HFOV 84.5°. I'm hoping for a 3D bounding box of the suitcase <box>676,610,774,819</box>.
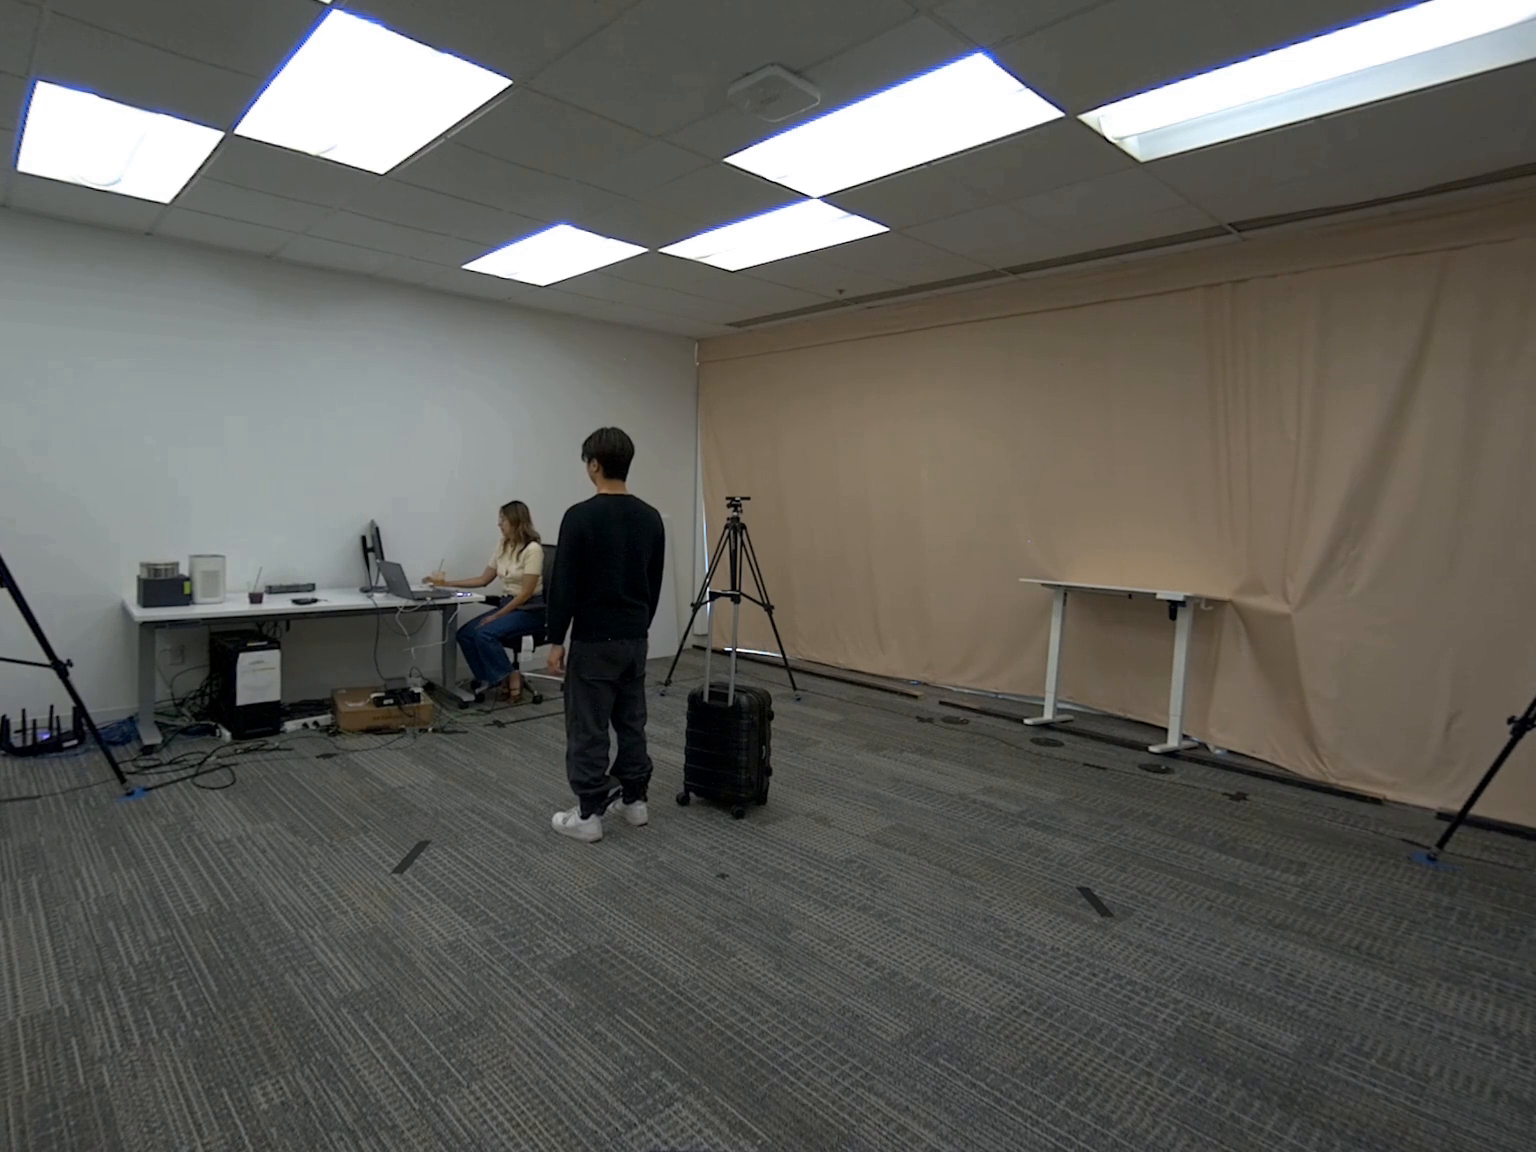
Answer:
[{"bbox_3d":[-0.178,0.564,3.843,0.393,0.978,0.251,5,1,31],"label":"suitcase"}]
